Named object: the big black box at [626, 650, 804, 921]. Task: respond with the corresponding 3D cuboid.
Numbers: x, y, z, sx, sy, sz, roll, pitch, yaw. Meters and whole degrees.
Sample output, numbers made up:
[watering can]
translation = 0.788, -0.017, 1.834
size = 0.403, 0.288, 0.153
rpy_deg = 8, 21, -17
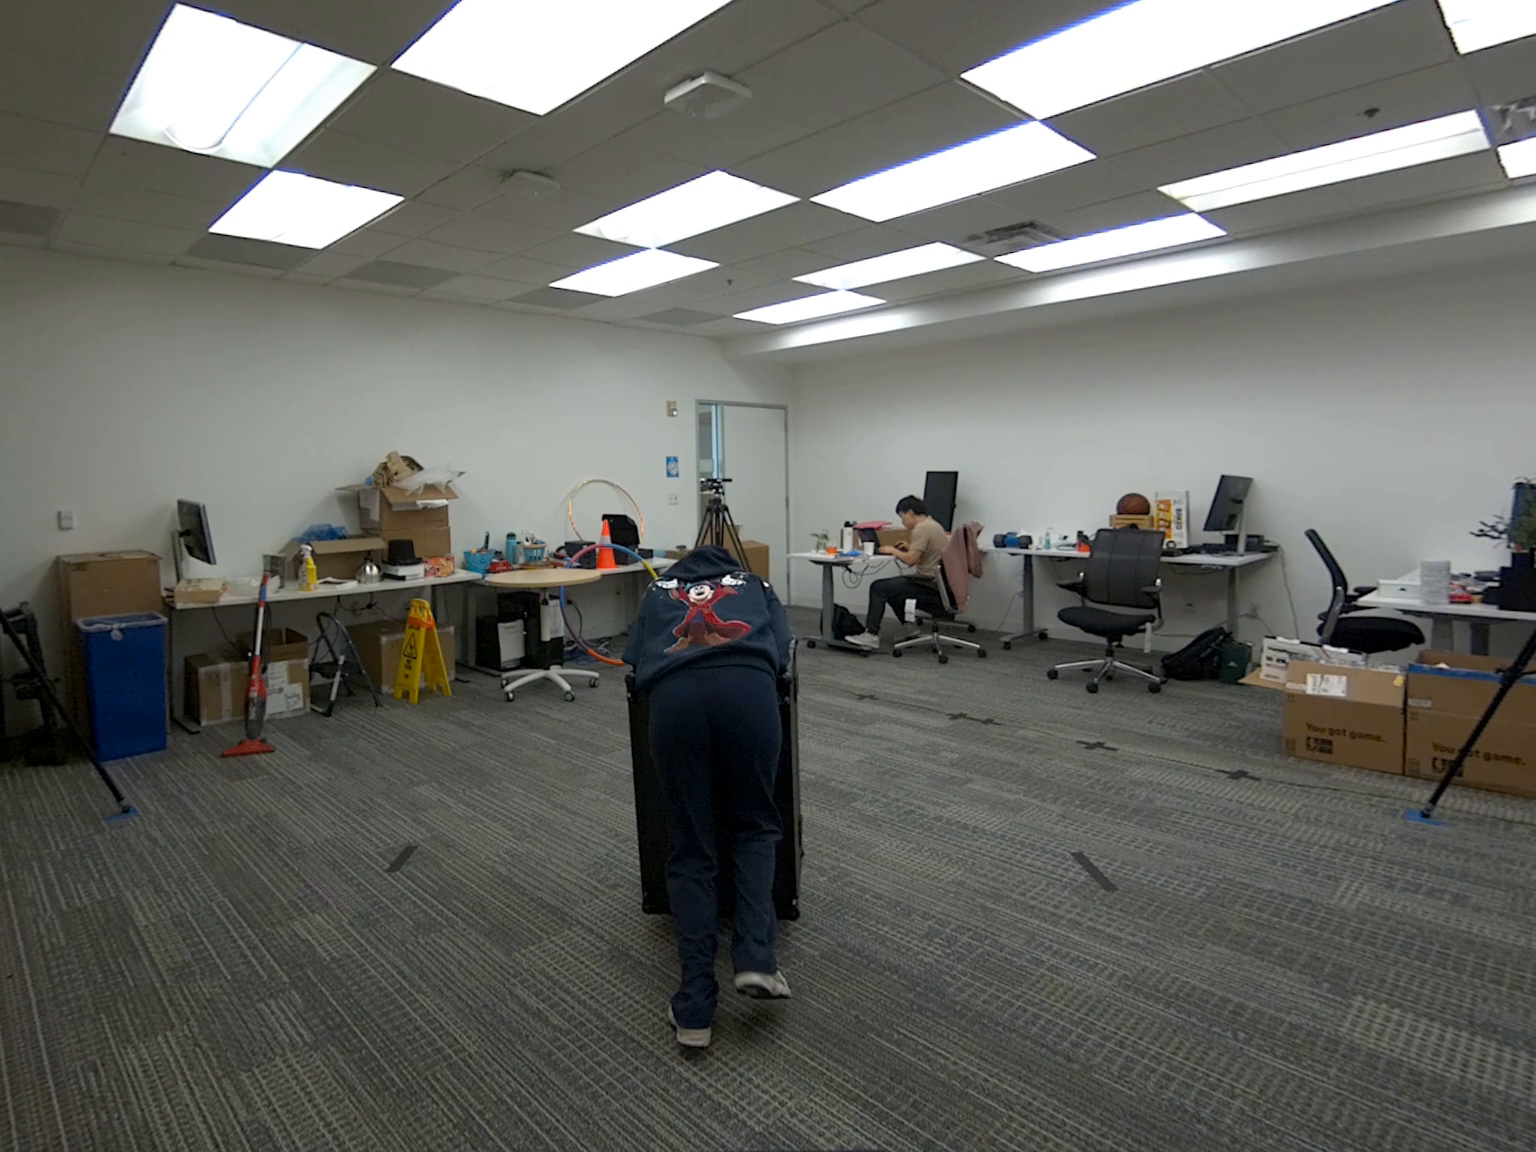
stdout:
[big black box]
translation = -0.141, 0.663, 2.701
size = 0.525, 0.852, 0.398
rpy_deg = -1, 12, 7
